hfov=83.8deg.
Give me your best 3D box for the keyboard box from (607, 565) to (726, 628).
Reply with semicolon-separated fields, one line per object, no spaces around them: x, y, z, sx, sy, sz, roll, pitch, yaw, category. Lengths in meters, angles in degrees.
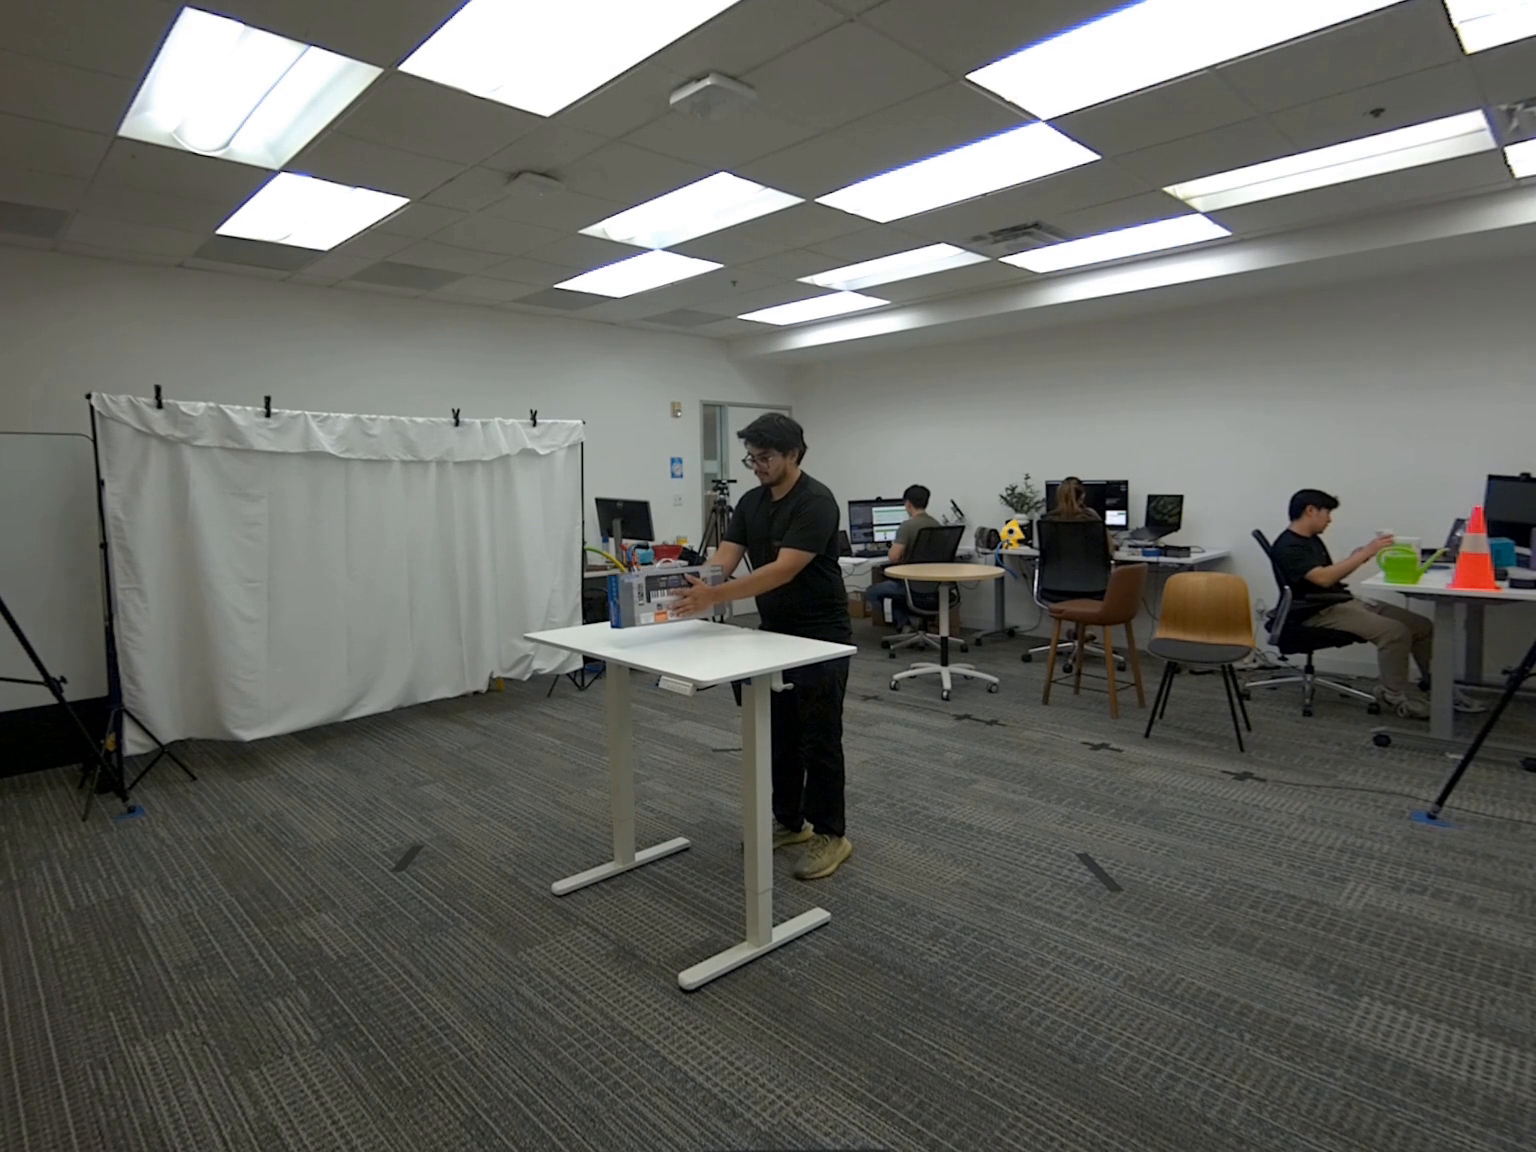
-0.324;0.068;2.784;0.425;0.176;0.061;-5;2;-43;keyboard box
